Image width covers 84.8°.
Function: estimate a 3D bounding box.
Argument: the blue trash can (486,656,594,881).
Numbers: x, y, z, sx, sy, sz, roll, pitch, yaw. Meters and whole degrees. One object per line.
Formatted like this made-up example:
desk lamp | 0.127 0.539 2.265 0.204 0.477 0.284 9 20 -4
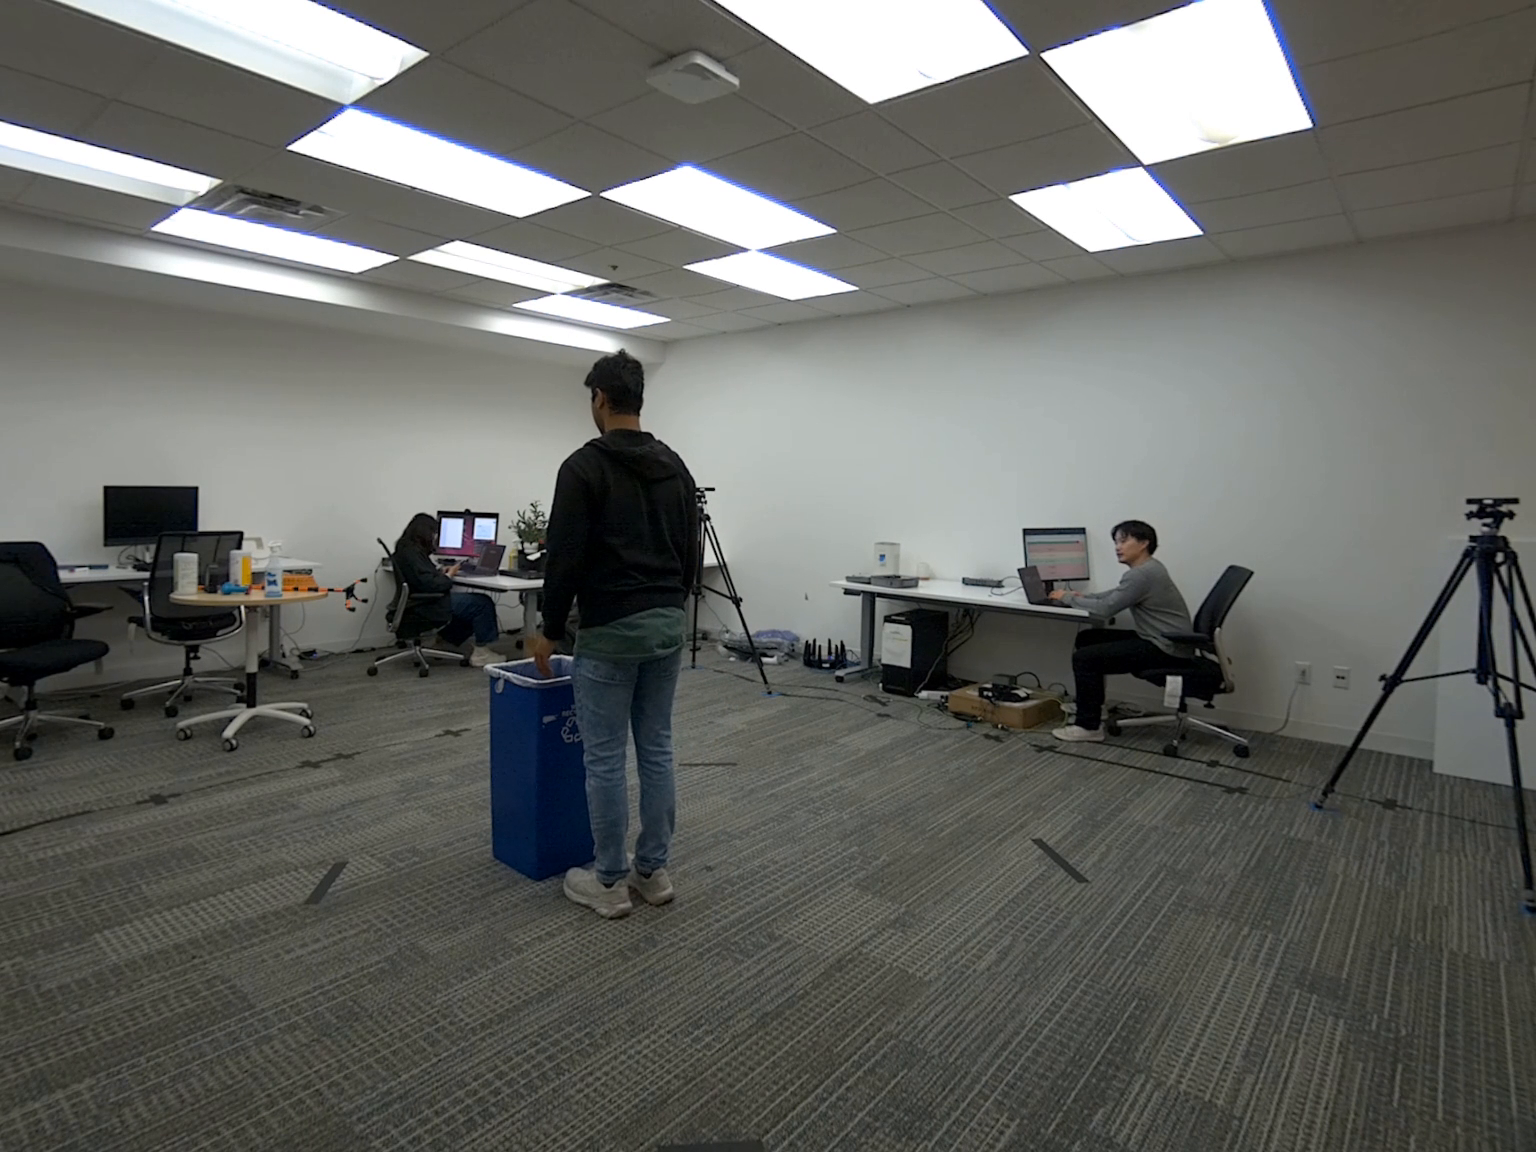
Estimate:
blue trash can | -0.828 0.691 3.177 0.391 0.711 0.362 4 4 42
